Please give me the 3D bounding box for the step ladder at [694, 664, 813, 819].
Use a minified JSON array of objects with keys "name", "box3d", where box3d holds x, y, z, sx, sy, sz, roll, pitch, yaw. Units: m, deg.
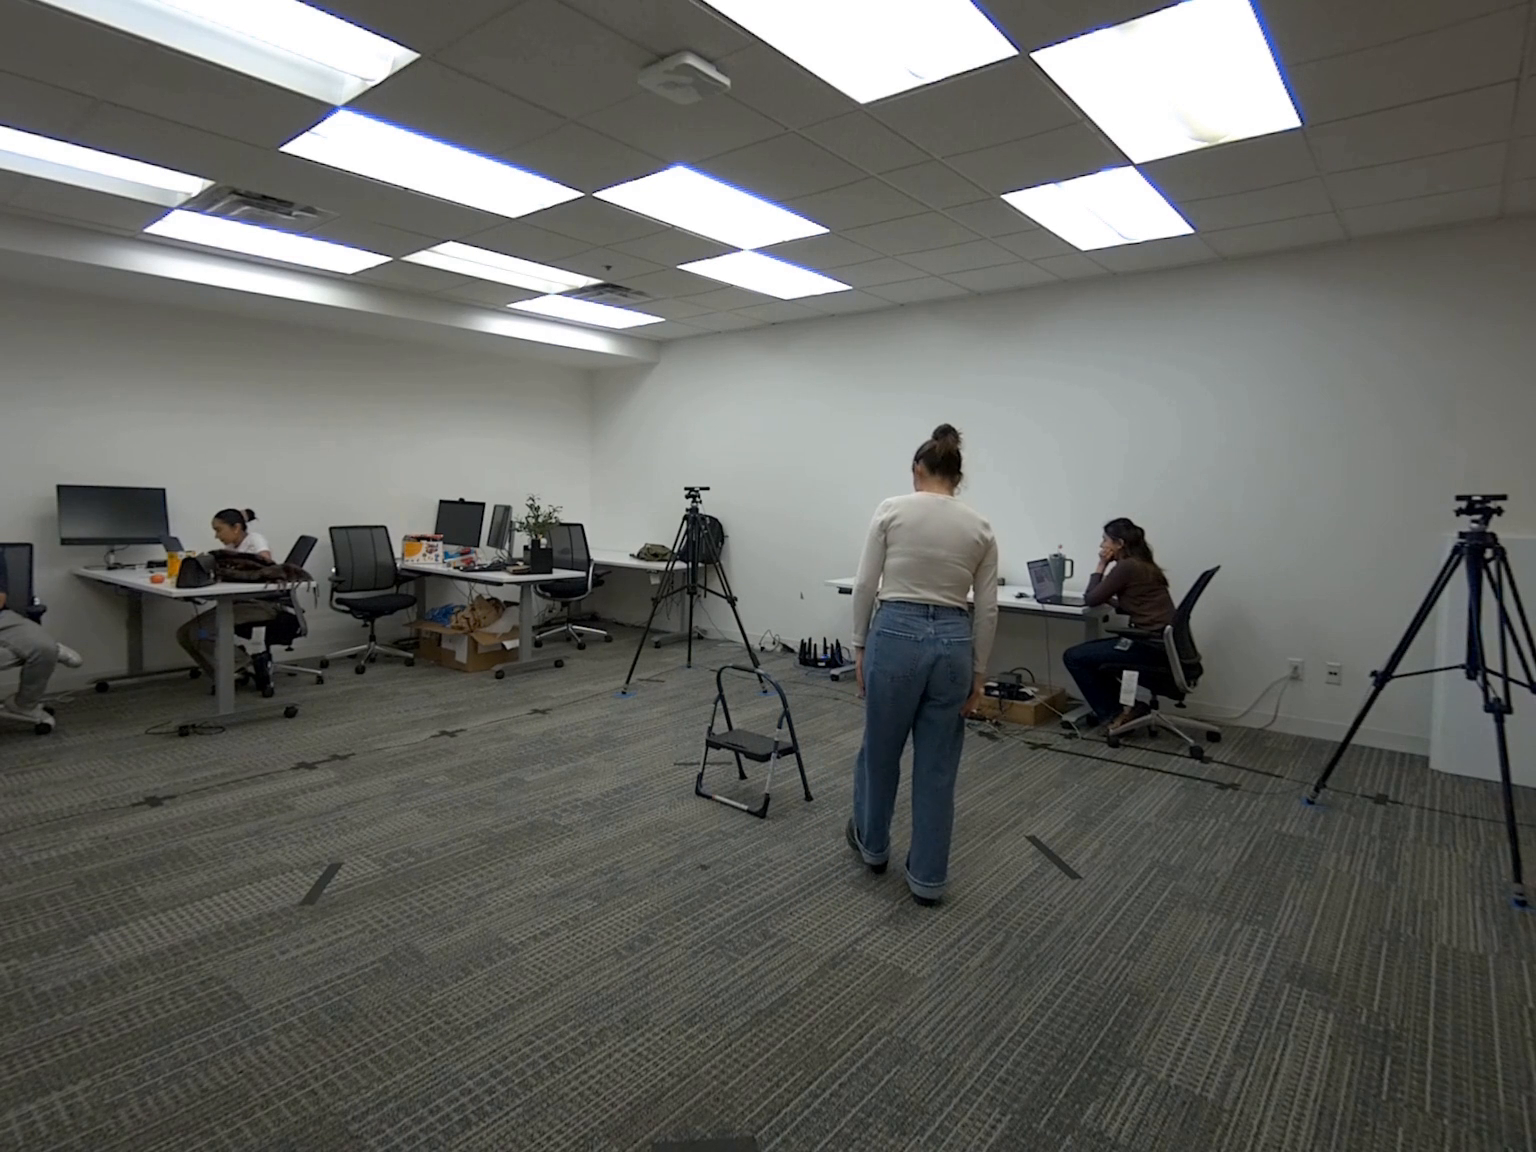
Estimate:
[{"name":"step ladder","box3d":[-0.071,0.692,3.834,0.445,0.605,0.339,3,4,41]}]
